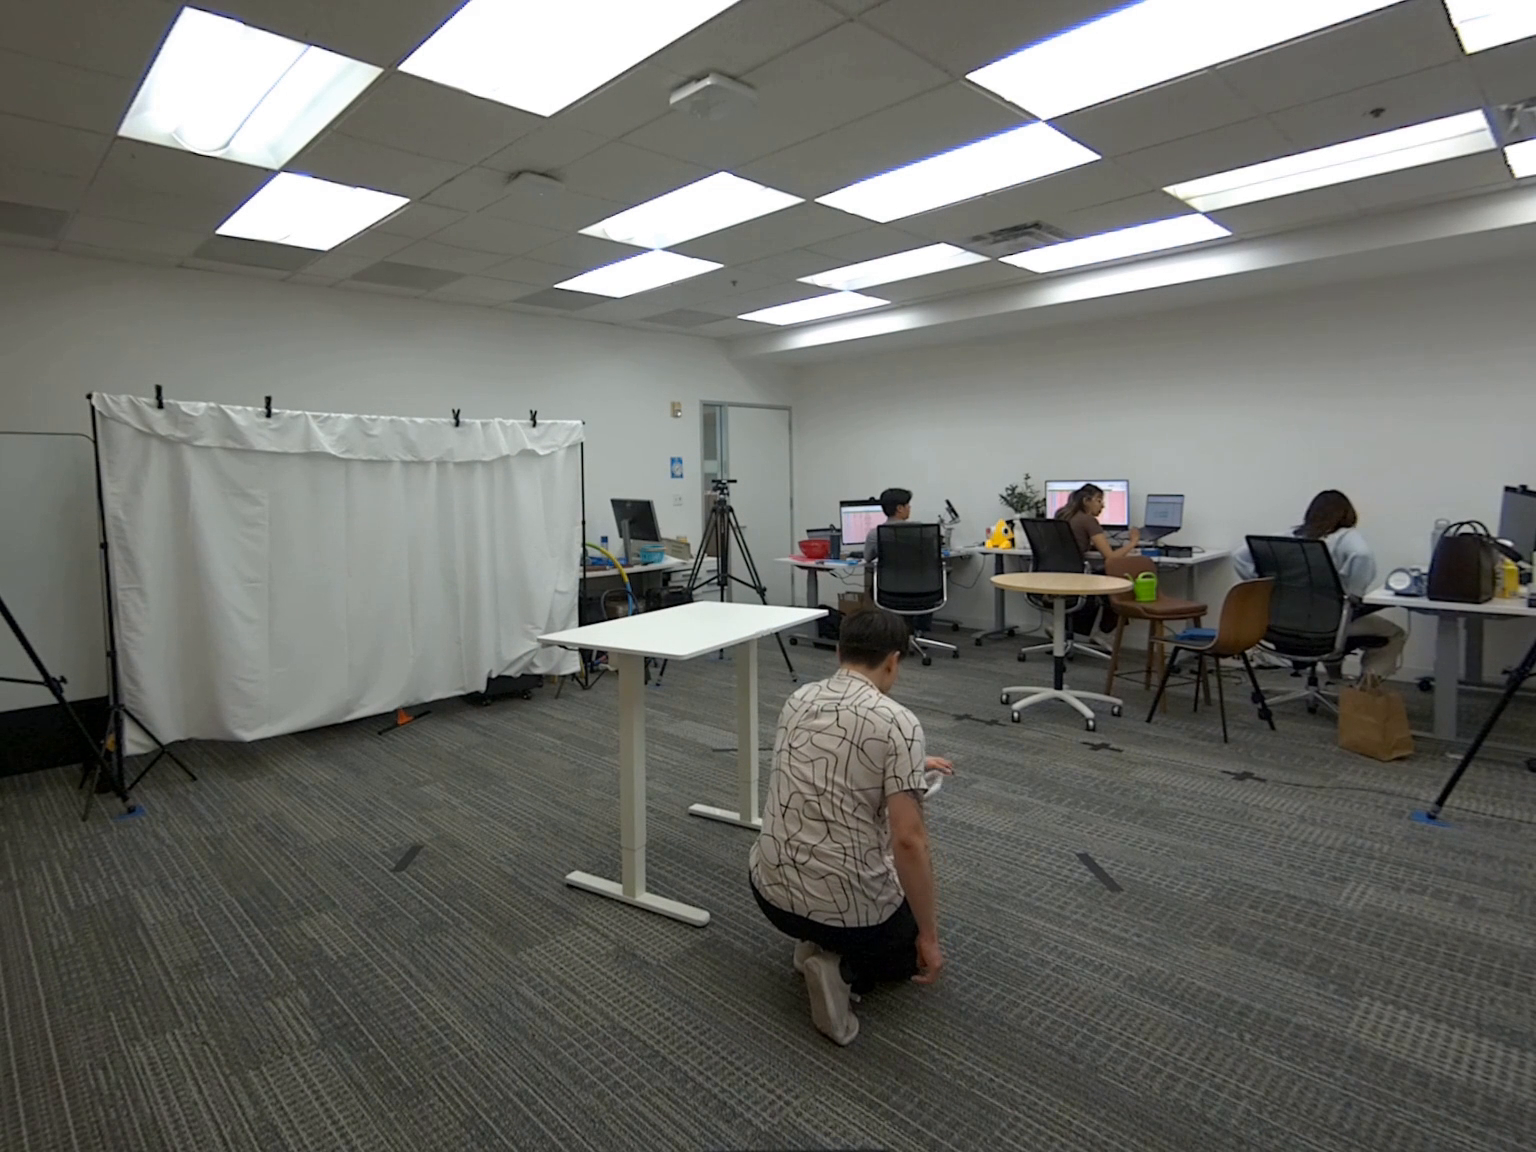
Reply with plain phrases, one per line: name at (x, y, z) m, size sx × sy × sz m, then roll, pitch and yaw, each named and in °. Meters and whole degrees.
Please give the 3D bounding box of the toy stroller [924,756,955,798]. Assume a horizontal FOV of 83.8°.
toy stroller at (0.340, 0.844, 2.800) m, size 0.349 × 0.531 × 0.277 m, roll 14°, pitch 10°, yaw 20°
